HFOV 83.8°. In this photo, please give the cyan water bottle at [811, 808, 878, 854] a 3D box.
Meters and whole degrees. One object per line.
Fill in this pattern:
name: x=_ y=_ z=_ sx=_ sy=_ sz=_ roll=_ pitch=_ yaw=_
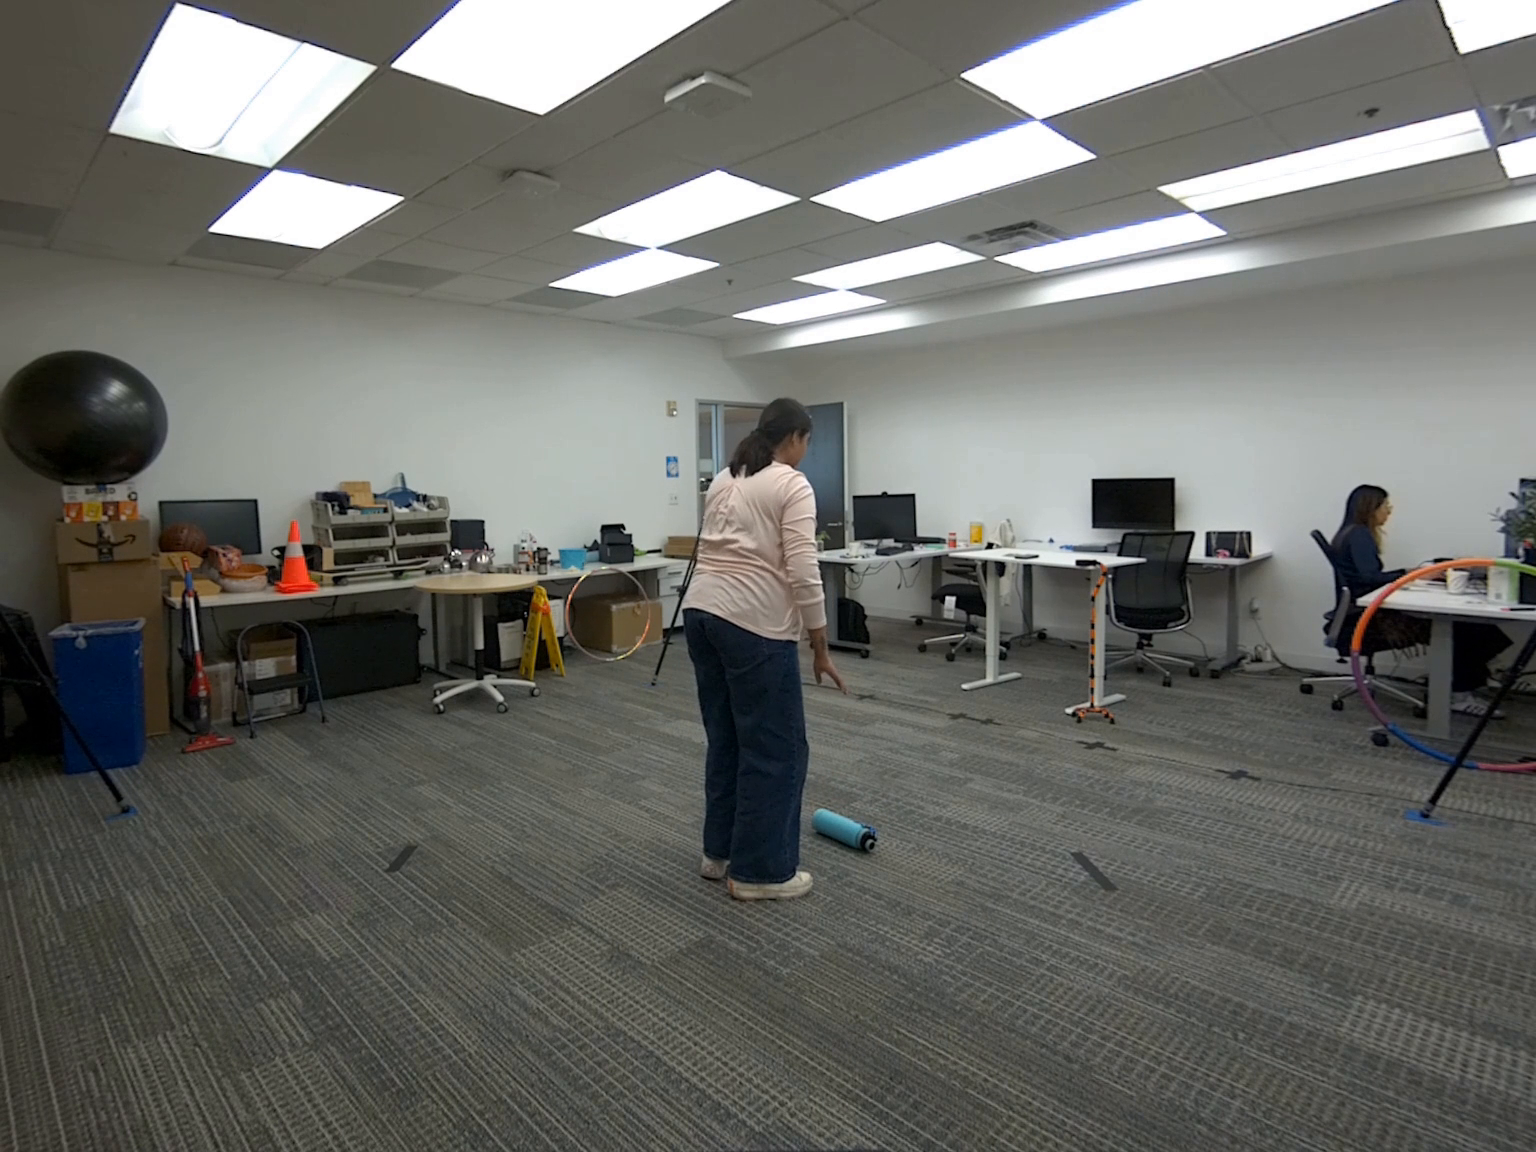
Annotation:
cyan water bottle: x=0.297 y=0.971 z=3.275 sx=0.090 sy=0.092 sz=0.292 roll=-5 pitch=7 yaw=-40
